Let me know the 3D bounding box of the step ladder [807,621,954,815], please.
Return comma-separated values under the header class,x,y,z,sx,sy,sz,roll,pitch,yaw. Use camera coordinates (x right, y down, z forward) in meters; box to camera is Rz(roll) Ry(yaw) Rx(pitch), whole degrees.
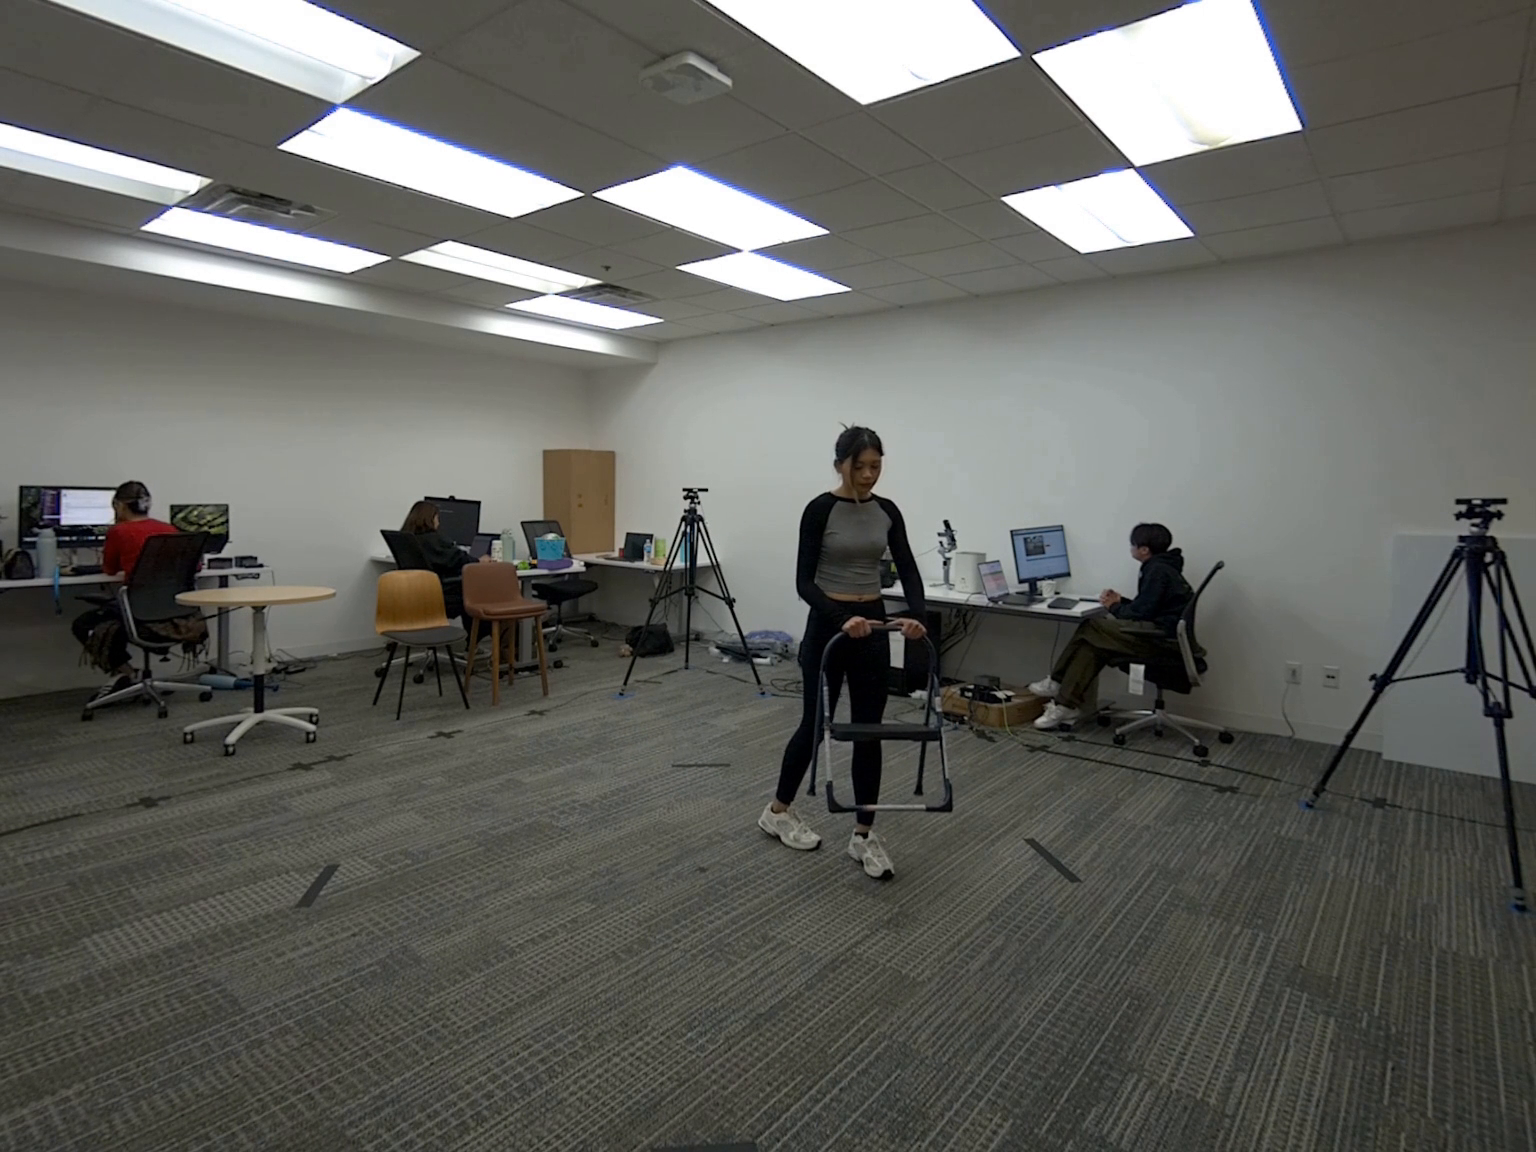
class,x,y,z,sx,sy,sz,roll,pitch,yaw
step ladder,0.387,0.489,2.961,0.427,0.610,0.350,3,-7,-8
